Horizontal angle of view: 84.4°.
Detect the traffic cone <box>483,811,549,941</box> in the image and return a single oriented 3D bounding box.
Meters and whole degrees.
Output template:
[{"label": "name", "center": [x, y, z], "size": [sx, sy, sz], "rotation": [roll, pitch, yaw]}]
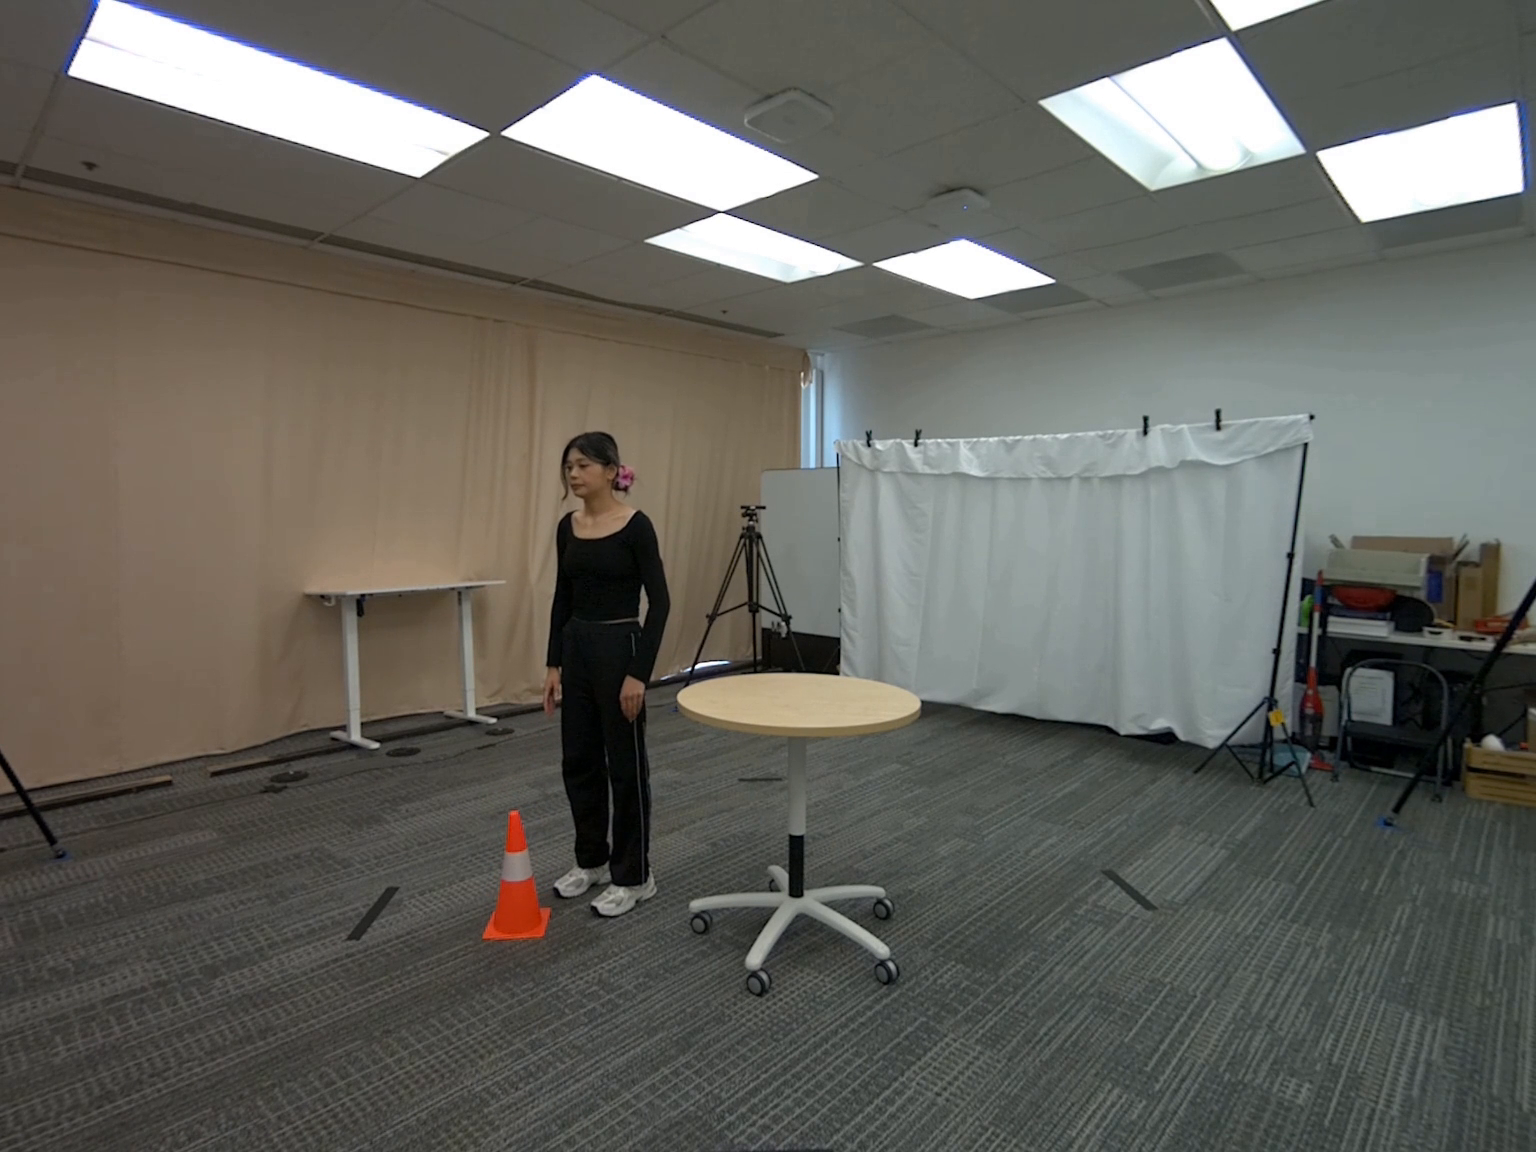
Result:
[{"label": "traffic cone", "center": [-0.835, 0.980, 2.801], "size": [0.205, 0.383, 0.204], "rotation": [1, 3, -2]}]
